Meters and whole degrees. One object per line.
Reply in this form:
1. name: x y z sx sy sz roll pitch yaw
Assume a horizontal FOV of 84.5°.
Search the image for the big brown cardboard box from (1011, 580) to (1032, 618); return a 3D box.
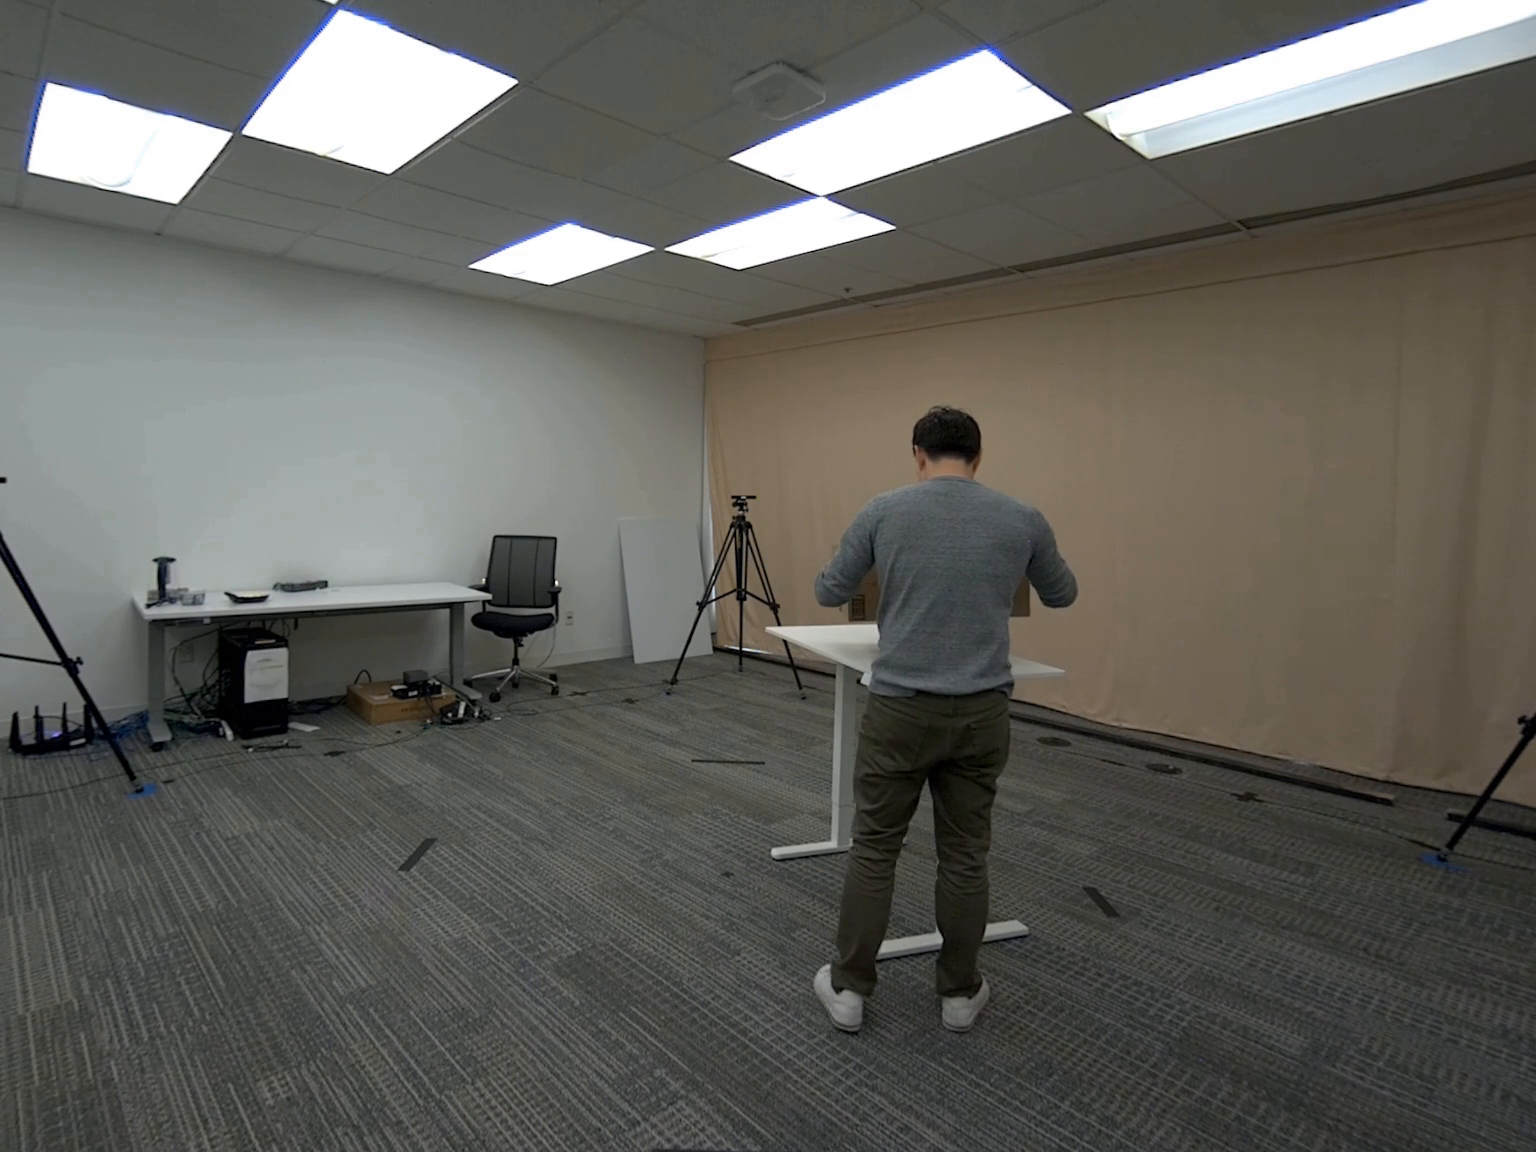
1. big brown cardboard box: 0.522 0.004 2.793 0.589 0.232 0.419 -2 6 -1
